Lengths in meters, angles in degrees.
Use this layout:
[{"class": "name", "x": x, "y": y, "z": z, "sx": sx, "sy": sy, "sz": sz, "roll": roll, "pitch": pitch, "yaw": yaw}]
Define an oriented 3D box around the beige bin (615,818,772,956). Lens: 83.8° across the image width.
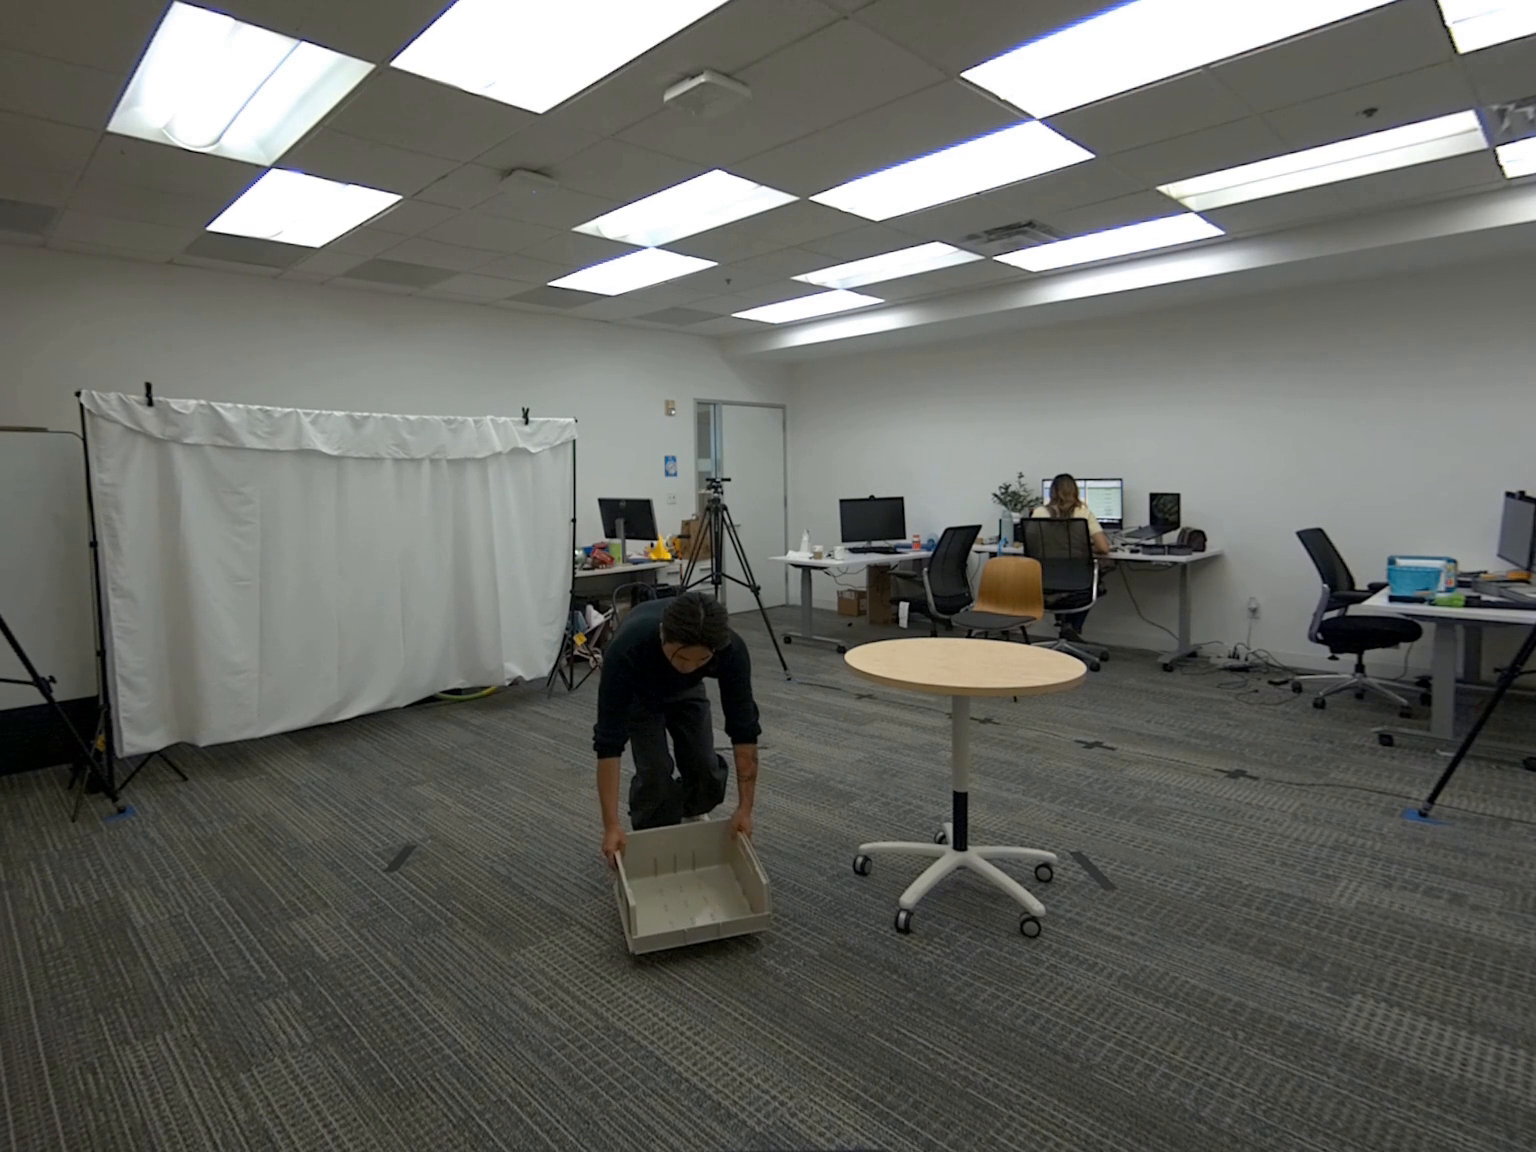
[{"class": "beige bin", "x": -0.246, "y": 0.960, "z": 2.627, "sx": 0.416, "sy": 0.186, "sz": 0.388, "roll": -5, "pitch": 16, "yaw": -17}]
